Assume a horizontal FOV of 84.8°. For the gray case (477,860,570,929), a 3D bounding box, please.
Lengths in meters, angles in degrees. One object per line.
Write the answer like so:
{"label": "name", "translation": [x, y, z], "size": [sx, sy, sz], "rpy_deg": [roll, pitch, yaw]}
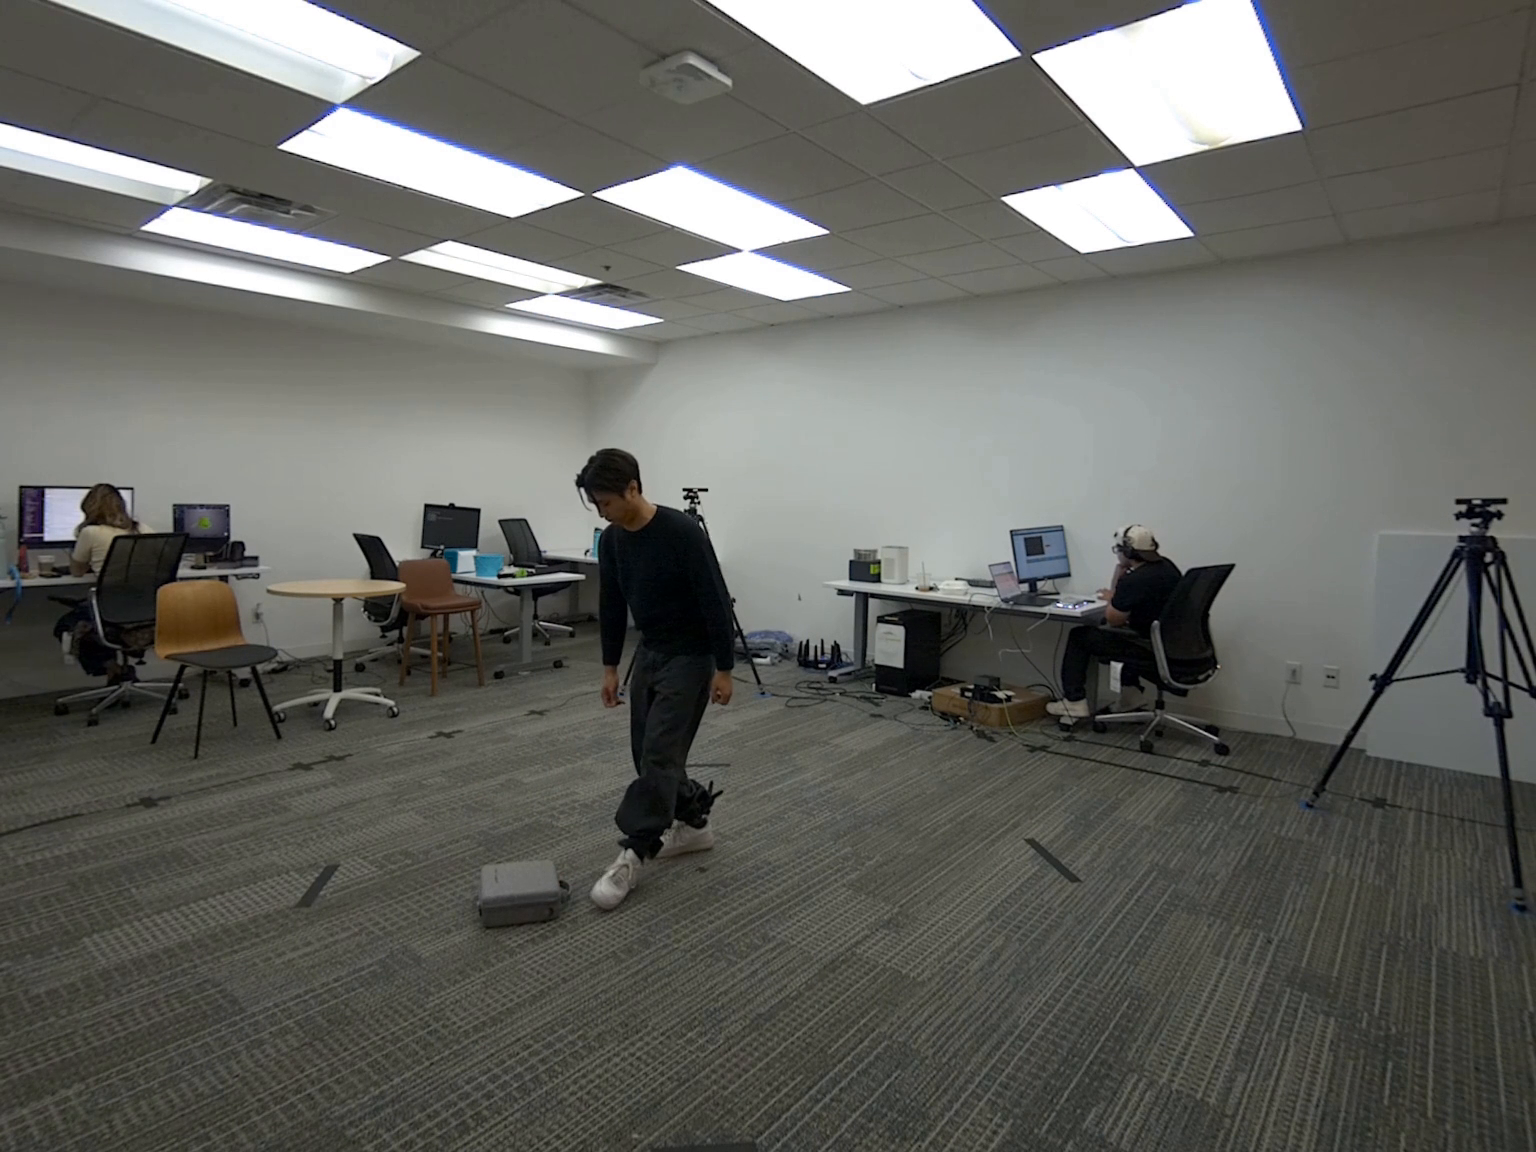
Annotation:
{"label": "gray case", "translation": [-0.819, 1.032, 2.804], "size": [0.256, 0.104, 0.262], "rpy_deg": [0, 4, -17]}
